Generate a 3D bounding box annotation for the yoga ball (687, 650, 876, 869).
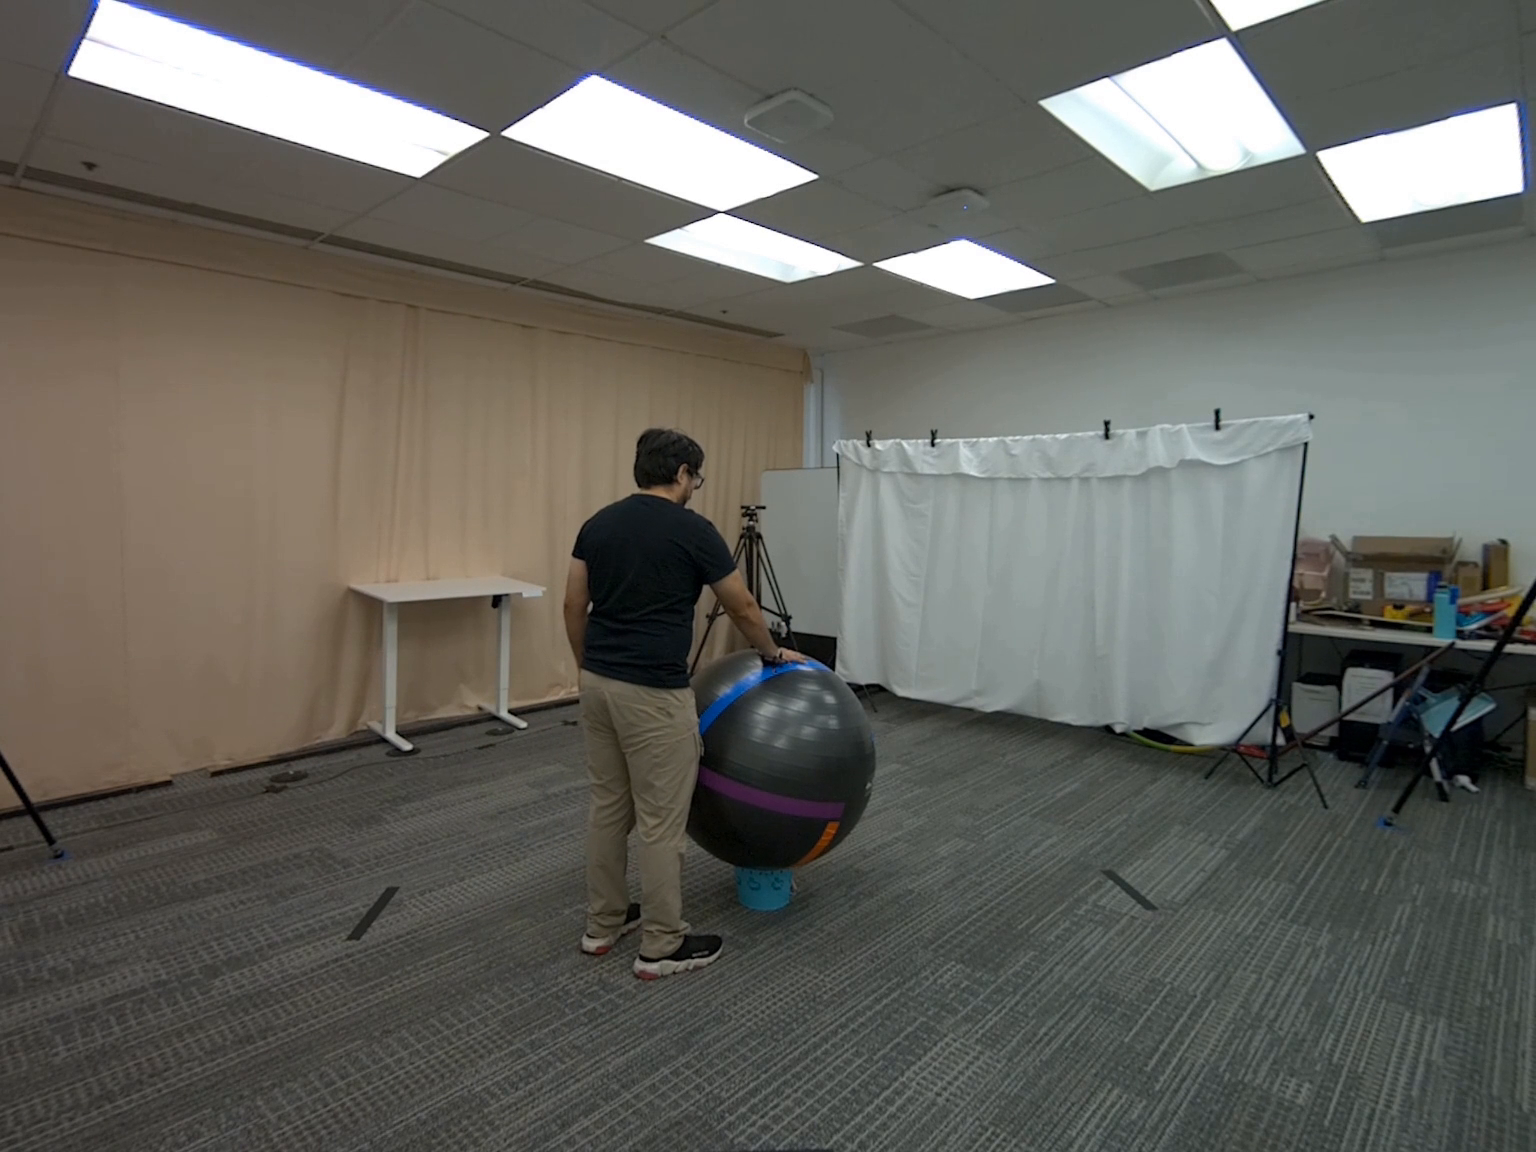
[{"bbox_3d":[0.002,0.636,2.961,0.757,0.756,0.760,0,4,-2],"label":"yoga ball"}]
